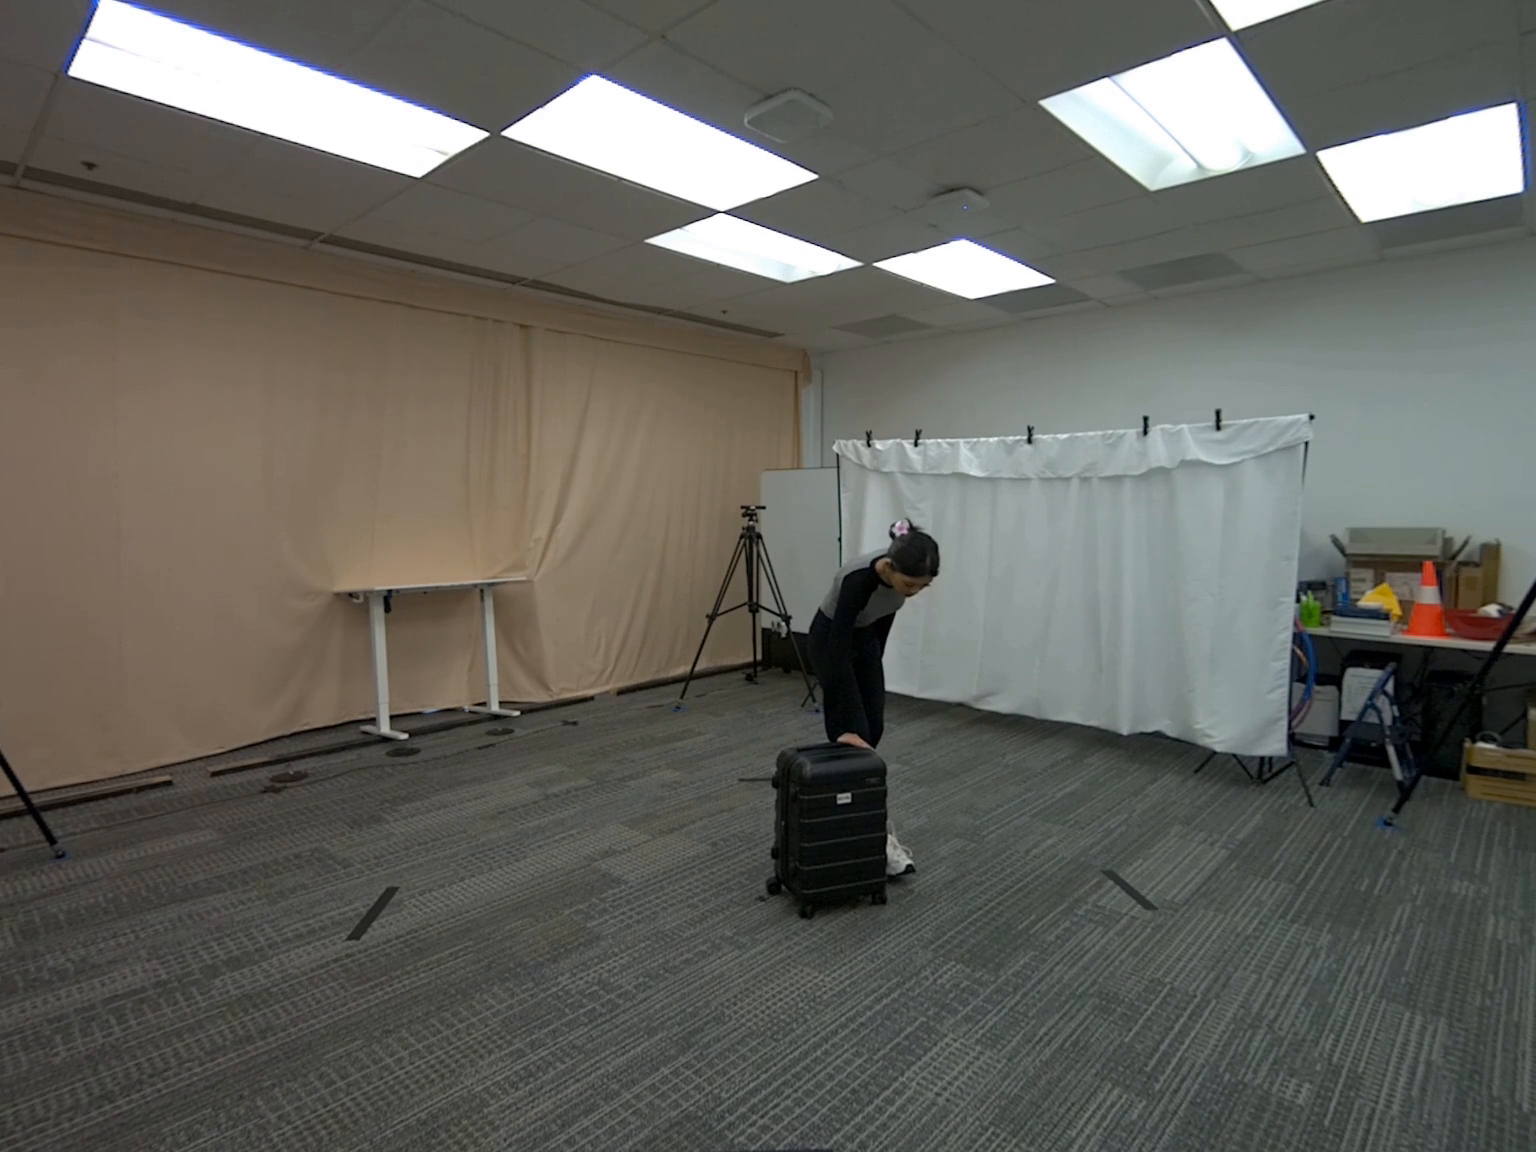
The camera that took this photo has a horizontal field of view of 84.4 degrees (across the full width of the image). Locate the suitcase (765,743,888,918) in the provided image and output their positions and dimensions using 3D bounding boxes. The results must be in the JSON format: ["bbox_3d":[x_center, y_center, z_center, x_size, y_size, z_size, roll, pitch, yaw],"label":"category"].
[{"bbox_3d":[0.218,0.871,2.960,0.367,0.548,0.254,0,5,-21],"label":"suitcase"}]
